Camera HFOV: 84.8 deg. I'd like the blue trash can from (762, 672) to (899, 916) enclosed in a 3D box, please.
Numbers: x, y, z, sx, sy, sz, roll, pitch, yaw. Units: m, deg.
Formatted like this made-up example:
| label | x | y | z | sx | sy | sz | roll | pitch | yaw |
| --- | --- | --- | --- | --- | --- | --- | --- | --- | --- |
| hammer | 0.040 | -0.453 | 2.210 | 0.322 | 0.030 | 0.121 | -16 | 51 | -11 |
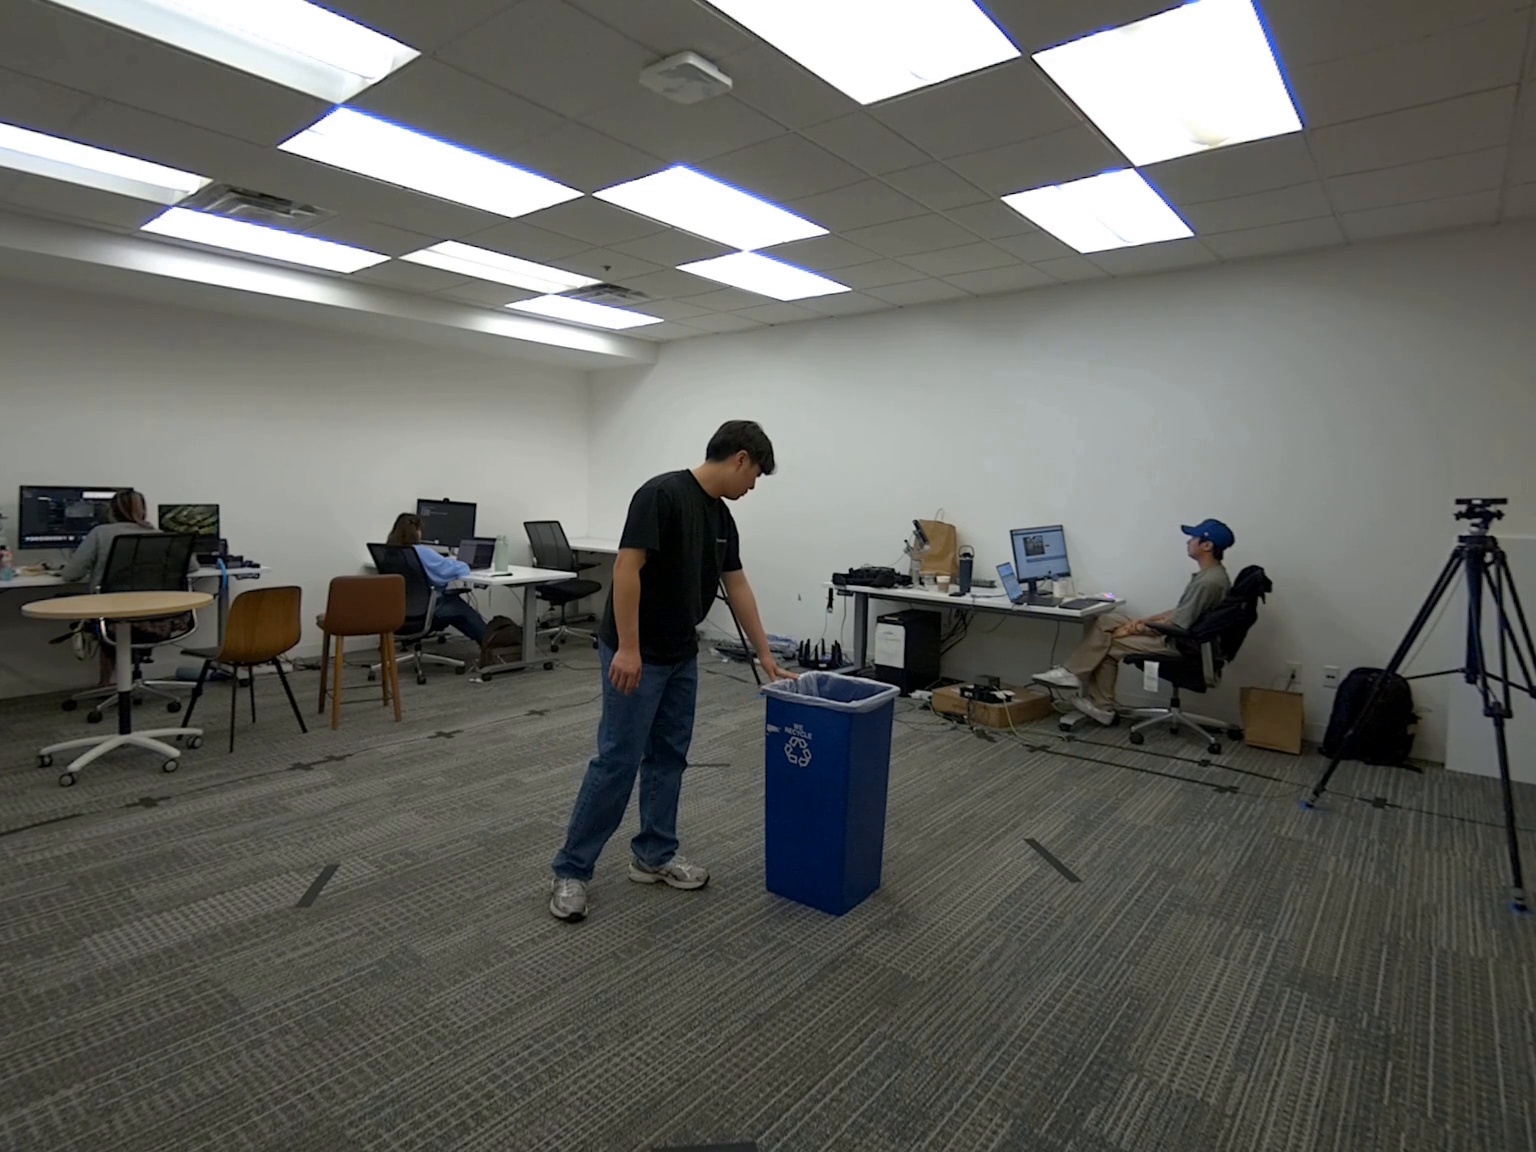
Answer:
| label | x | y | z | sx | sy | sz | roll | pitch | yaw |
| --- | --- | --- | --- | --- | --- | --- | --- | --- | --- |
| blue trash can | 0.208 | 0.737 | 2.963 | 0.386 | 0.711 | 0.367 | 4 | 4 | 34 |
